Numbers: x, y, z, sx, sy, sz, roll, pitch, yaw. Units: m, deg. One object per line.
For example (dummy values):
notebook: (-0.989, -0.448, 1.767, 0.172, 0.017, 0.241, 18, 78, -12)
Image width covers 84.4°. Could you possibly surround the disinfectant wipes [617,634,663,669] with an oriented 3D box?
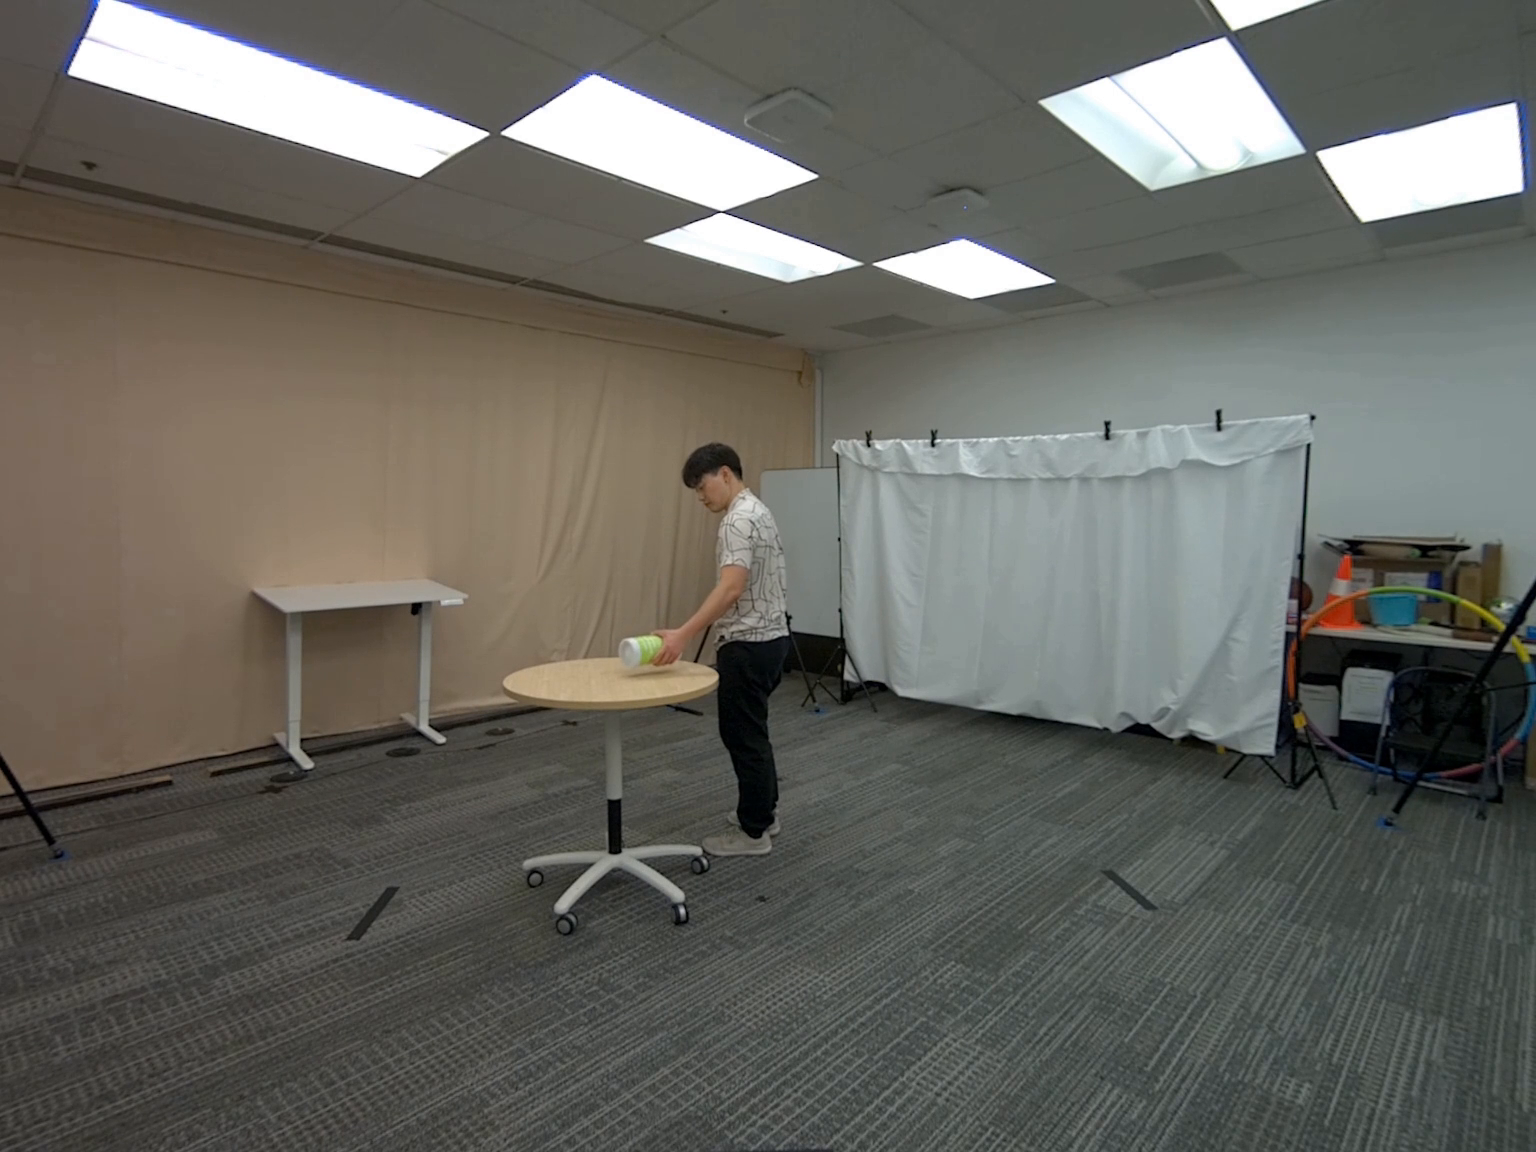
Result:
disinfectant wipes: (-0.428, 0.267, 3.062, 0.211, 0.117, 0.122, -3, 5, -42)
